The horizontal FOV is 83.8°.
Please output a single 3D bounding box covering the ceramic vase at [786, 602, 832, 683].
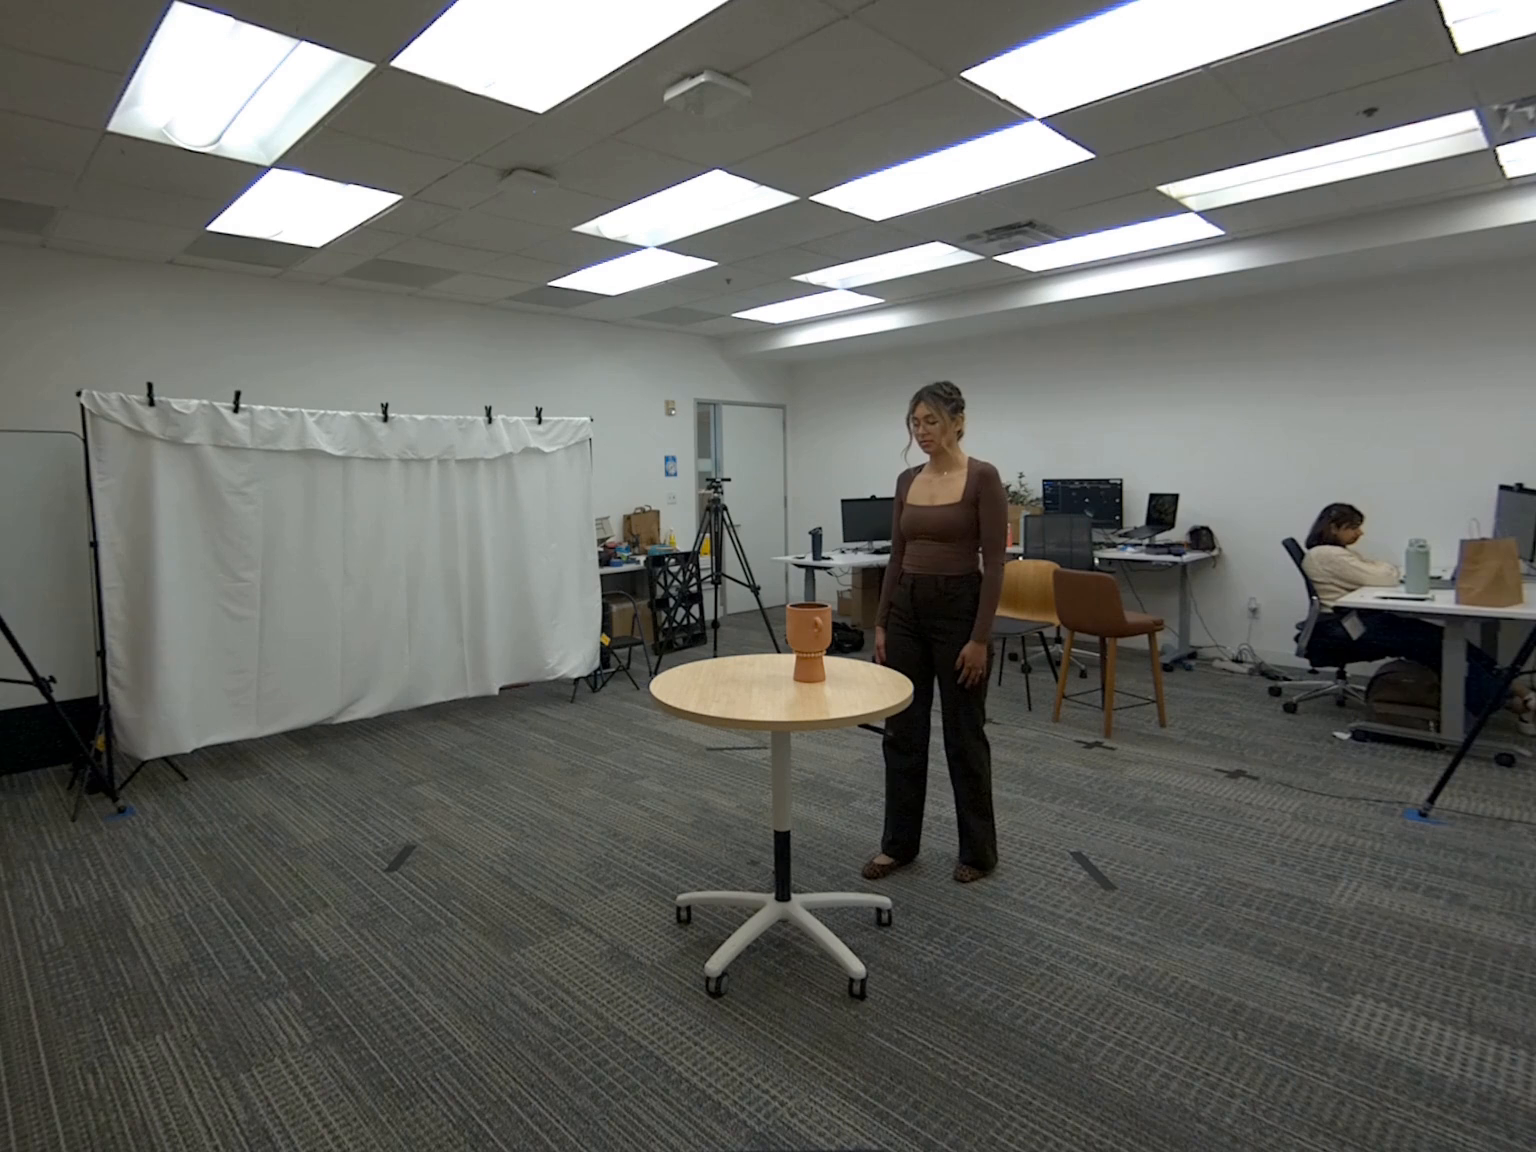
[{"bbox_3d":[0.128,0.200,2.531,0.137,0.219,0.156,2,6,23],"label":"ceramic vase"}]
